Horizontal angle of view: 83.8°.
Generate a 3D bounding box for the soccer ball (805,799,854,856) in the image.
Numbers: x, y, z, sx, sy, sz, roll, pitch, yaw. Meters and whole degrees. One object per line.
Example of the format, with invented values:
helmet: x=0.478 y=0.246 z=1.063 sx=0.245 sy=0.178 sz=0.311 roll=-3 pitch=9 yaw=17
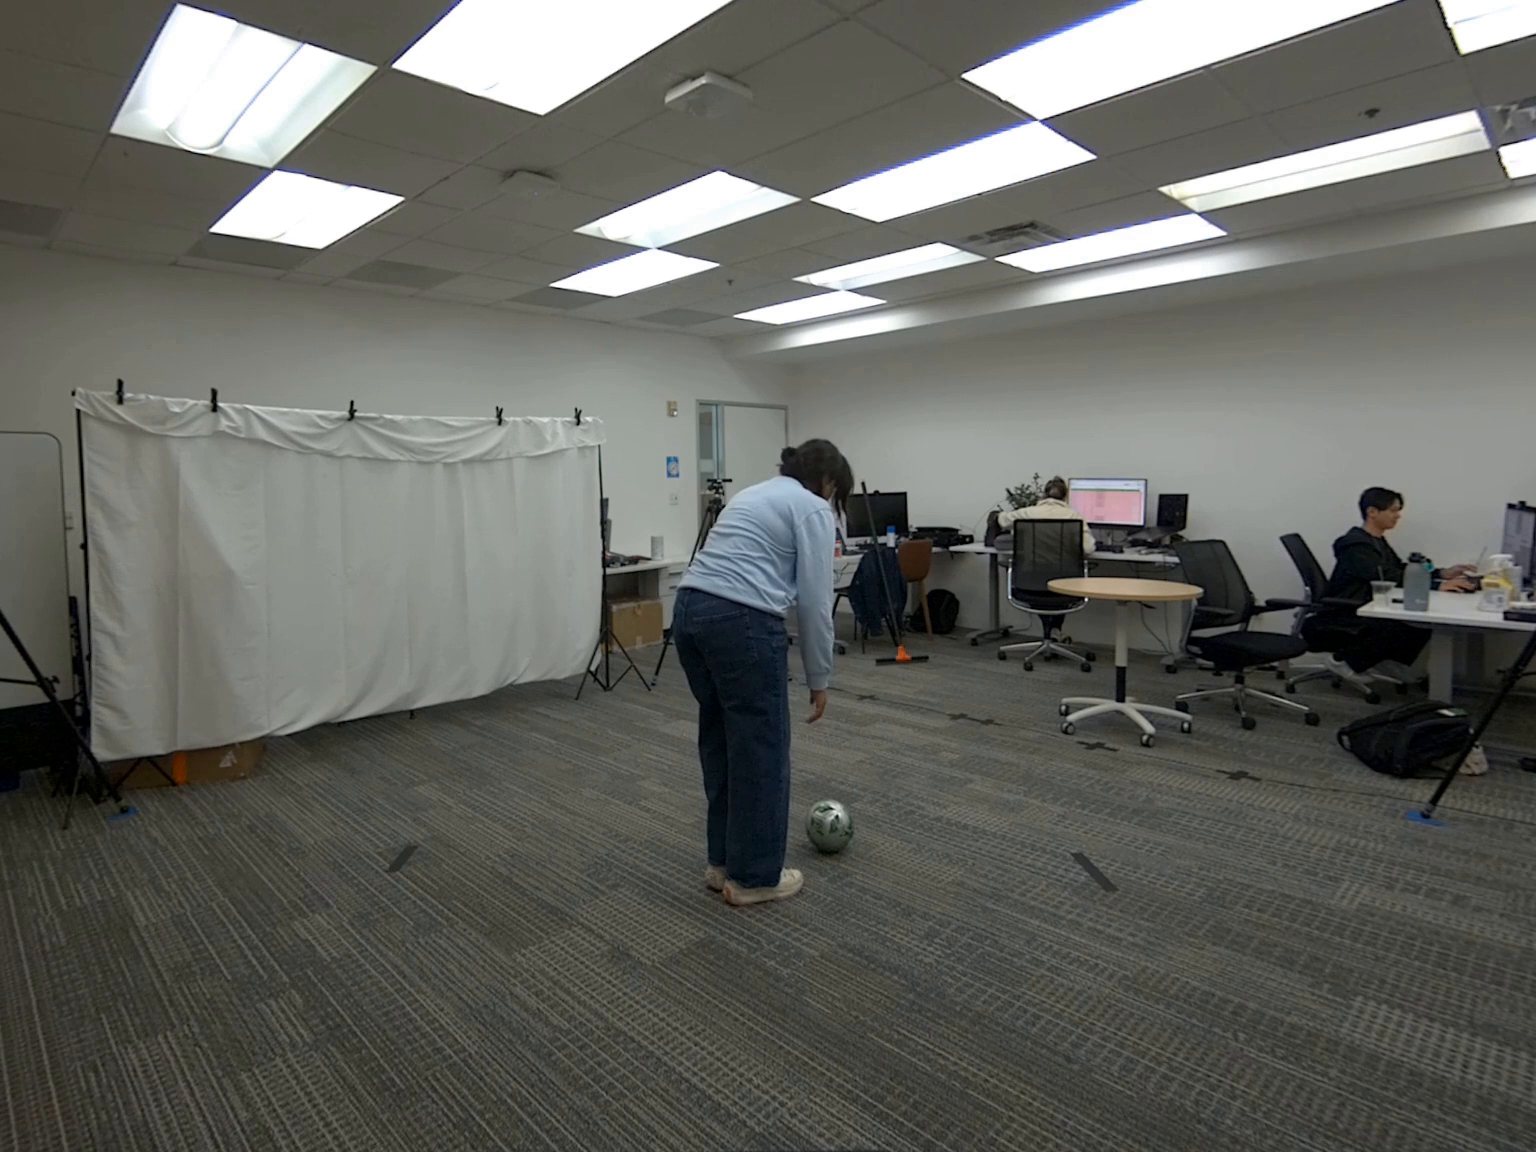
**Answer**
soccer ball: x=0.231 y=0.936 z=3.203 sx=0.187 sy=0.187 sz=0.188 roll=-1 pitch=5 yaw=-2
